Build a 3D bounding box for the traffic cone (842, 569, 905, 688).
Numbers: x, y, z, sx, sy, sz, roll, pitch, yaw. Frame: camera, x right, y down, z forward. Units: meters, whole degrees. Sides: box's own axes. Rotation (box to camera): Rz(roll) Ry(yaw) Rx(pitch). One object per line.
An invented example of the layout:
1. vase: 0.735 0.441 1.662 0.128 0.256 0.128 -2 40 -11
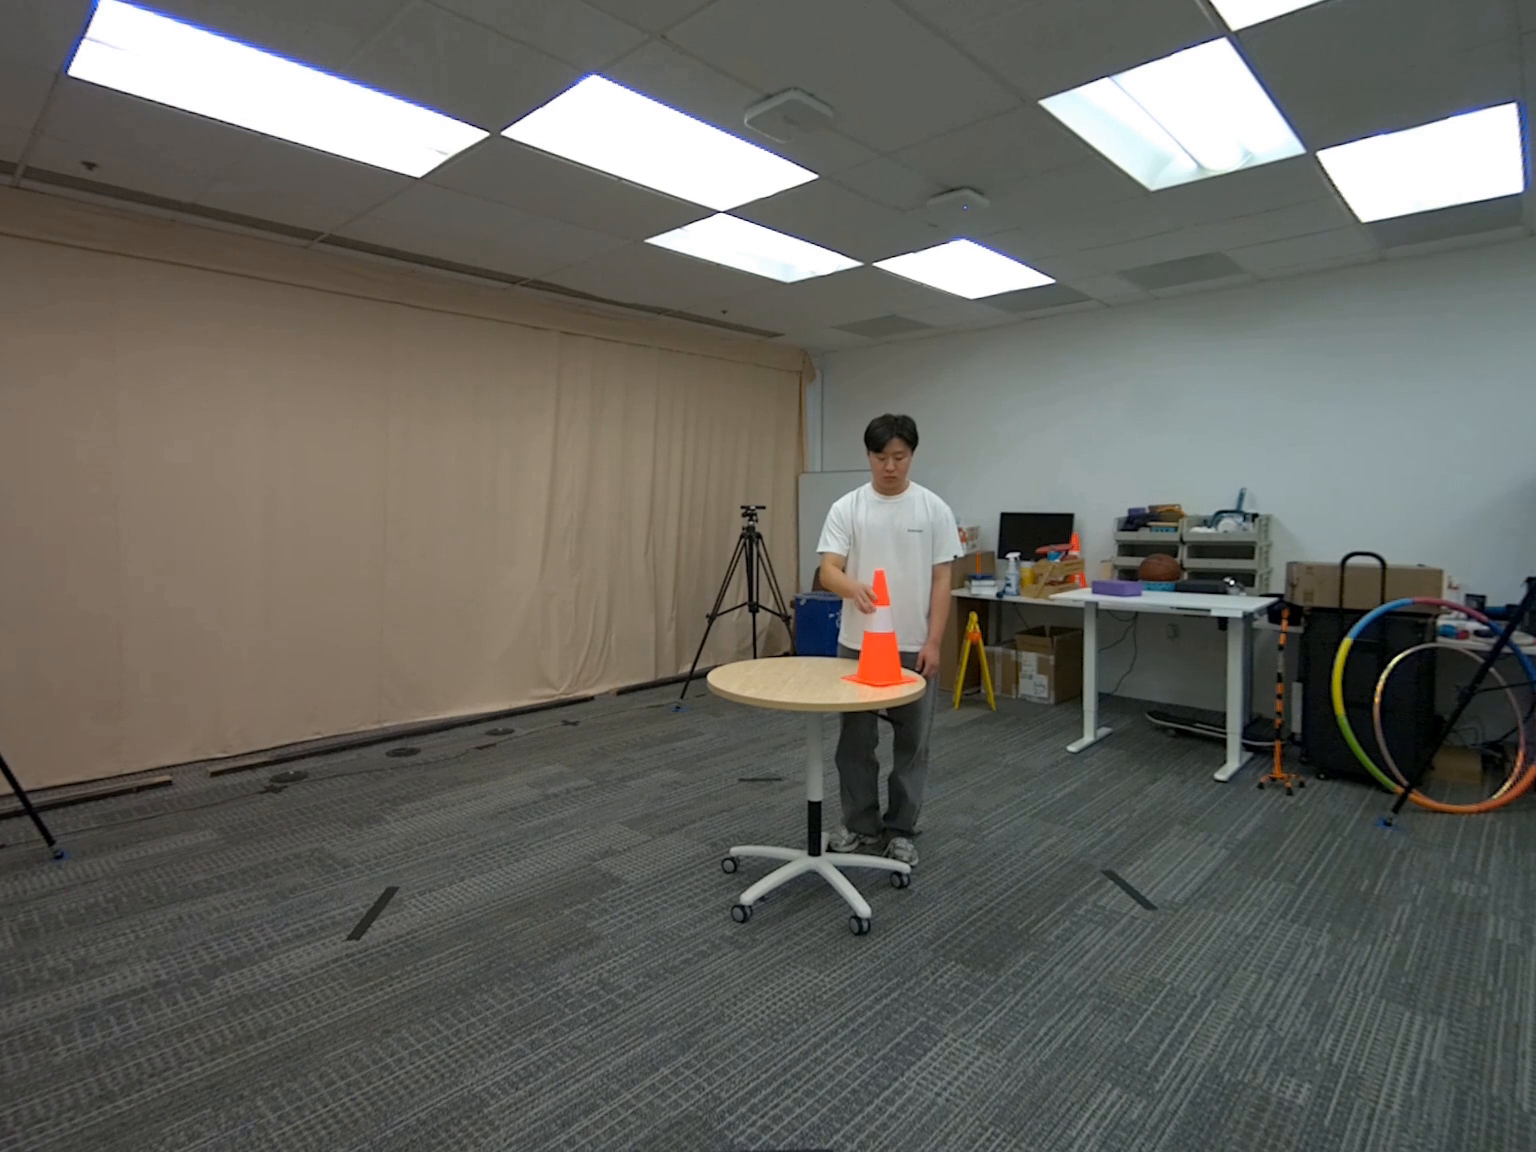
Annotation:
1. traffic cone: 0.388 0.158 2.946 0.210 0.383 0.199 0 4 38
